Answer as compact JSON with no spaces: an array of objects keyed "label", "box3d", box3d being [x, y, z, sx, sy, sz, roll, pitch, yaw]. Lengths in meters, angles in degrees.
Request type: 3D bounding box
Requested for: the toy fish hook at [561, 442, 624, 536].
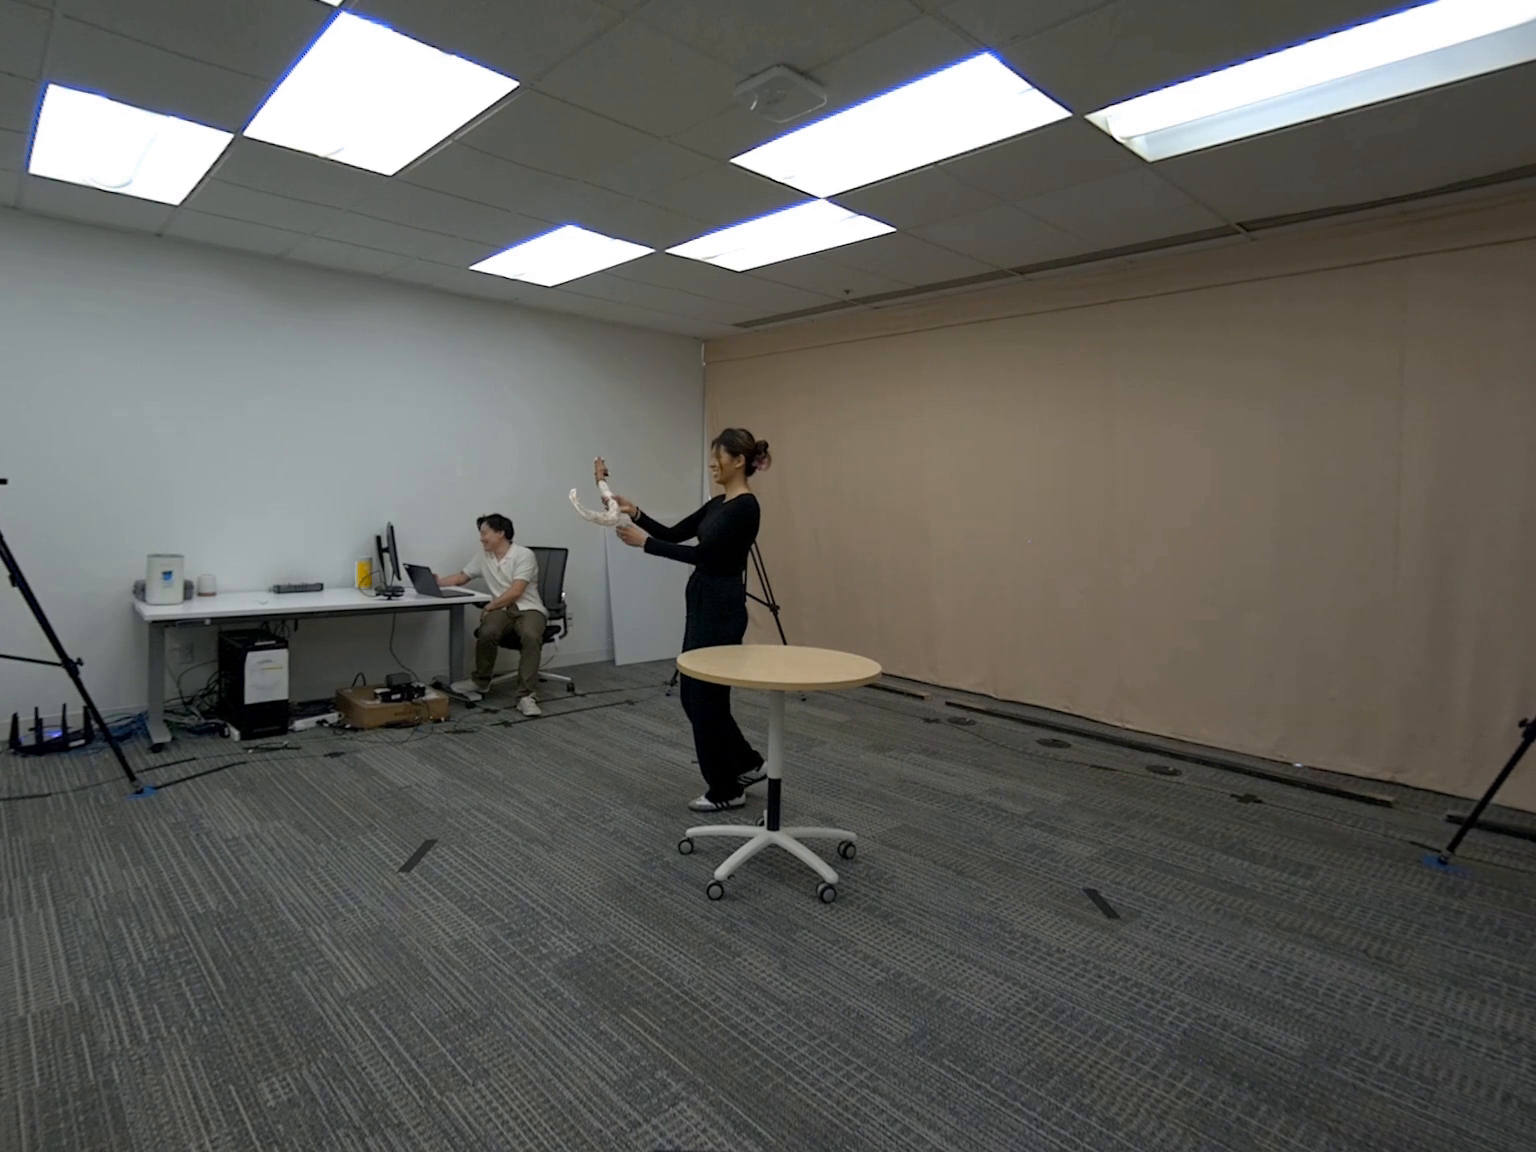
[{"label":"toy fish hook","box3d":[-0.757,-0.380,3.627,0.219,0.048,0.521,18,32,-30]}]
